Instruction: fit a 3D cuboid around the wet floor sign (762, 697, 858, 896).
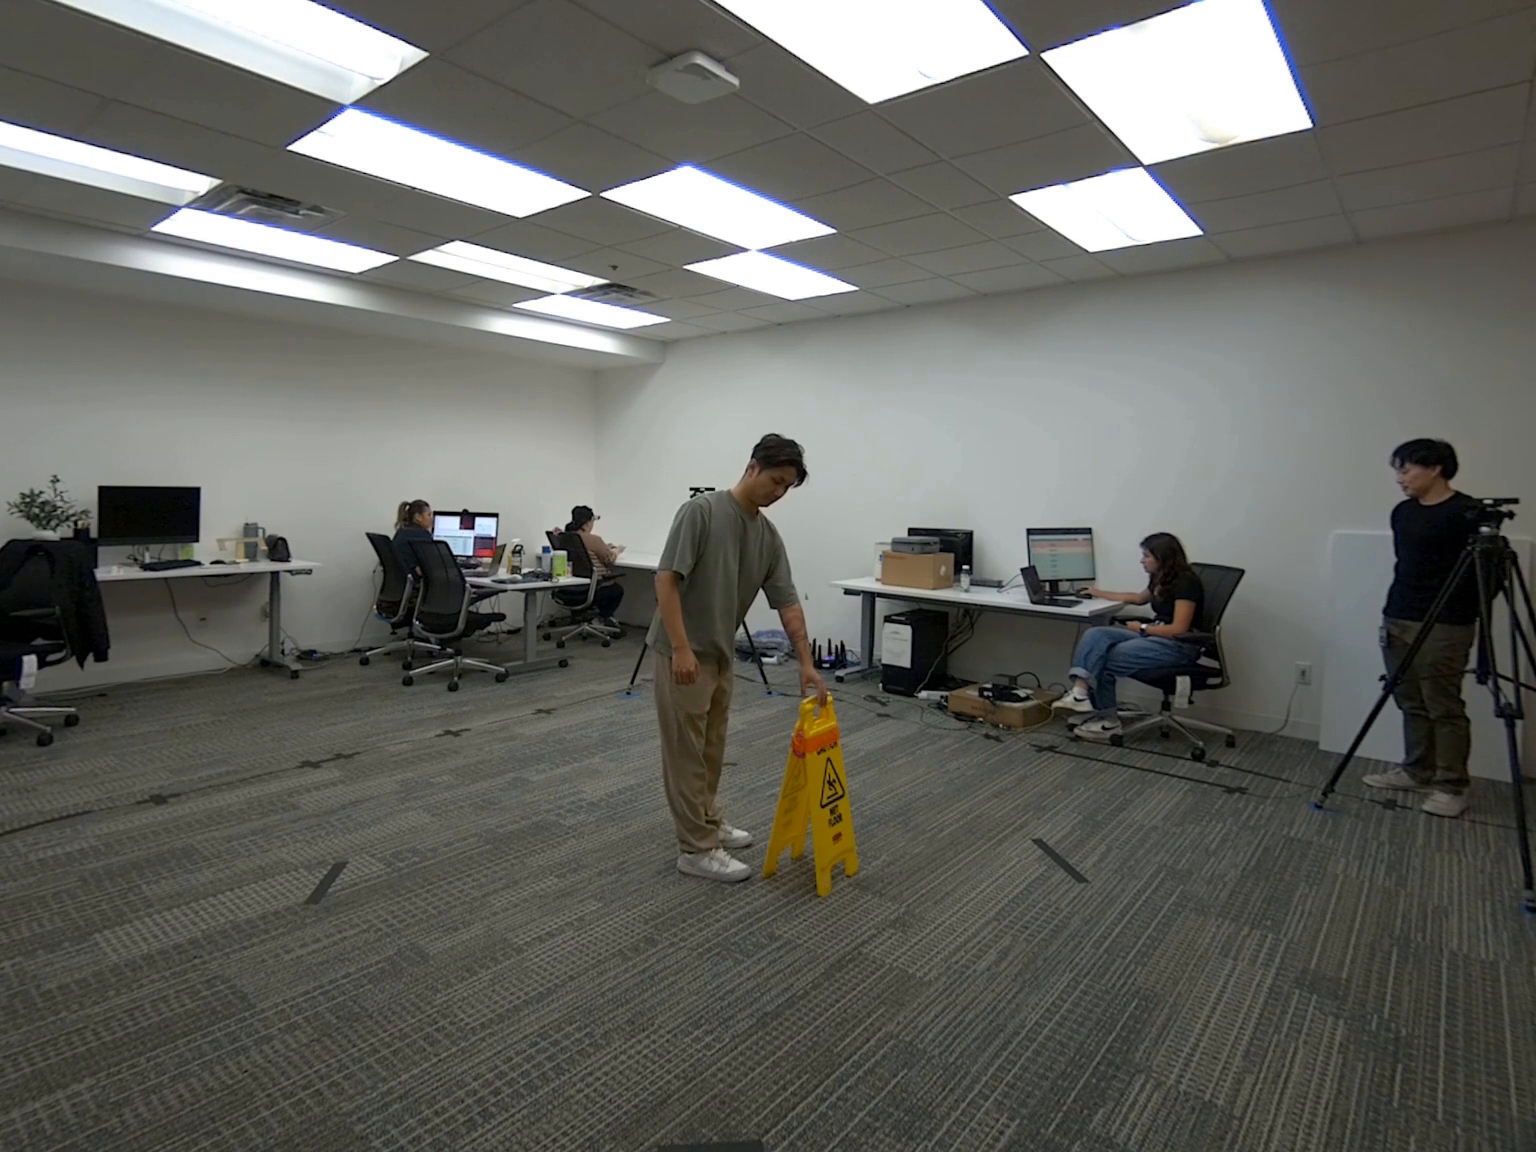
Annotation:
[{"bbox_3d":[0.152,0.756,3.068,0.299,0.645,0.274,3,3,34],"label":"wet floor sign"}]
